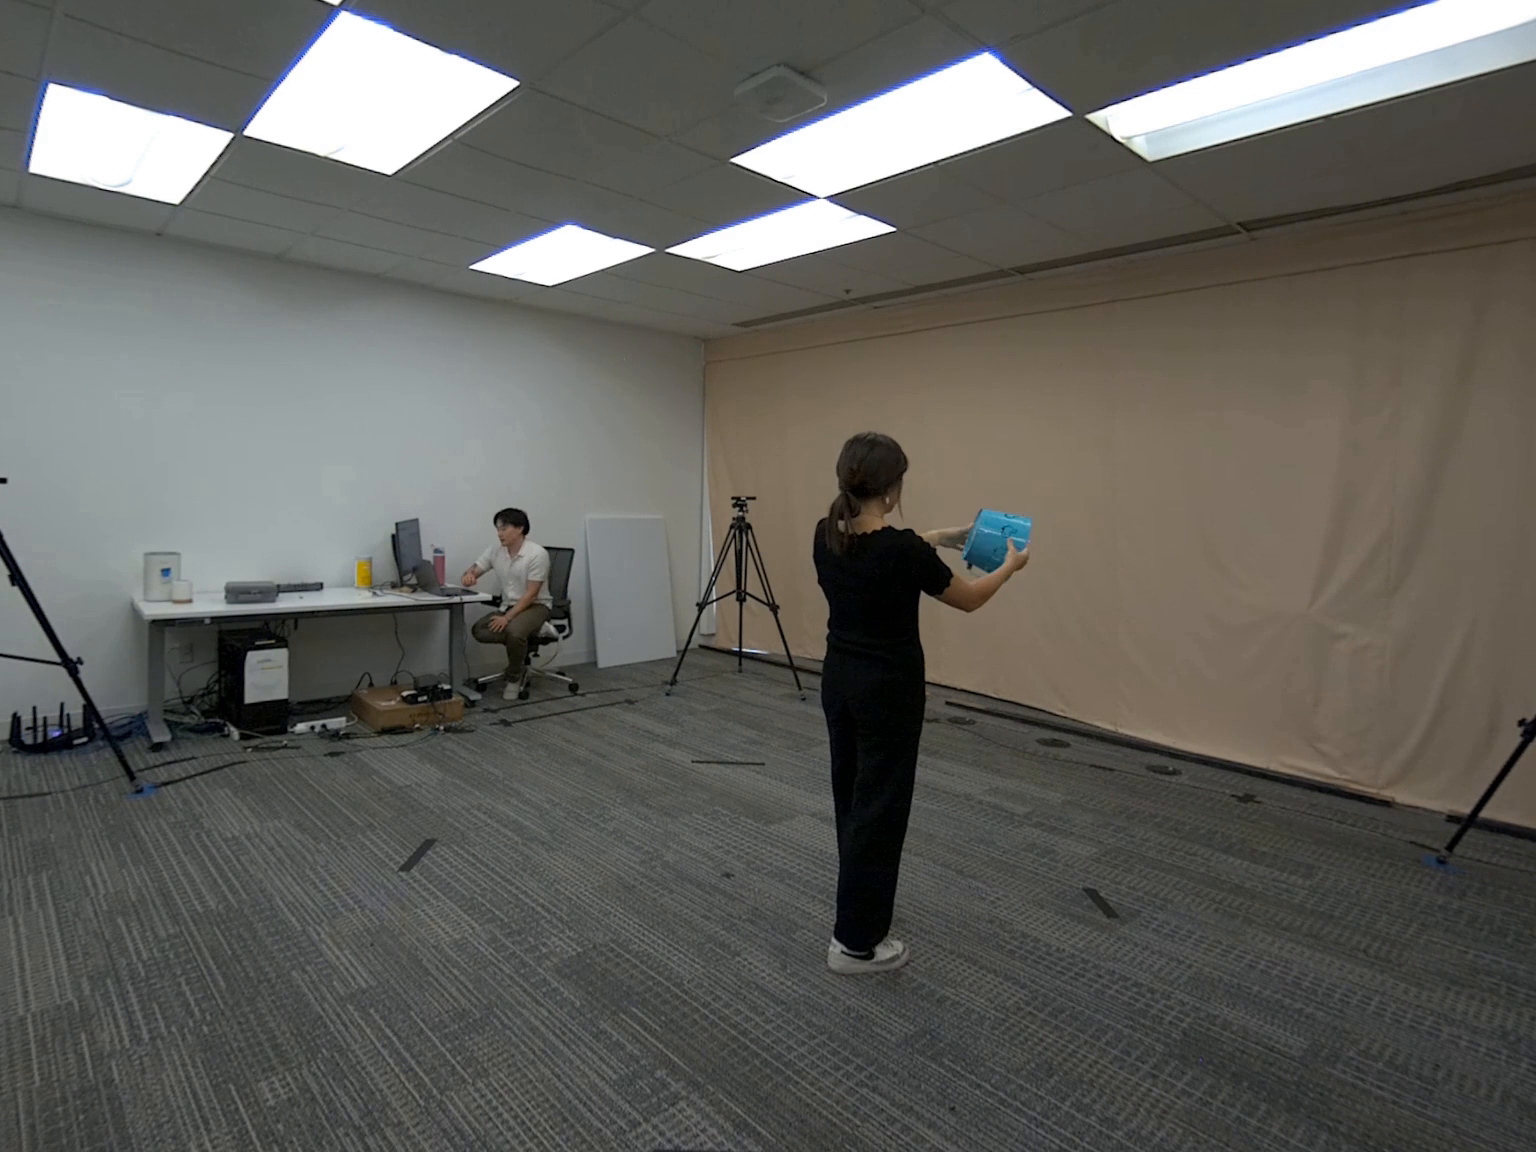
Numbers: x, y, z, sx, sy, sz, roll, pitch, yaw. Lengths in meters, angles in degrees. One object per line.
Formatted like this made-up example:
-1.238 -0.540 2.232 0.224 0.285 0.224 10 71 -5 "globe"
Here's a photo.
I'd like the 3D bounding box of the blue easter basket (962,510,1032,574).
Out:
0.740 -0.102 2.773 0.157 0.243 0.243 19 6 5 "blue easter basket"
